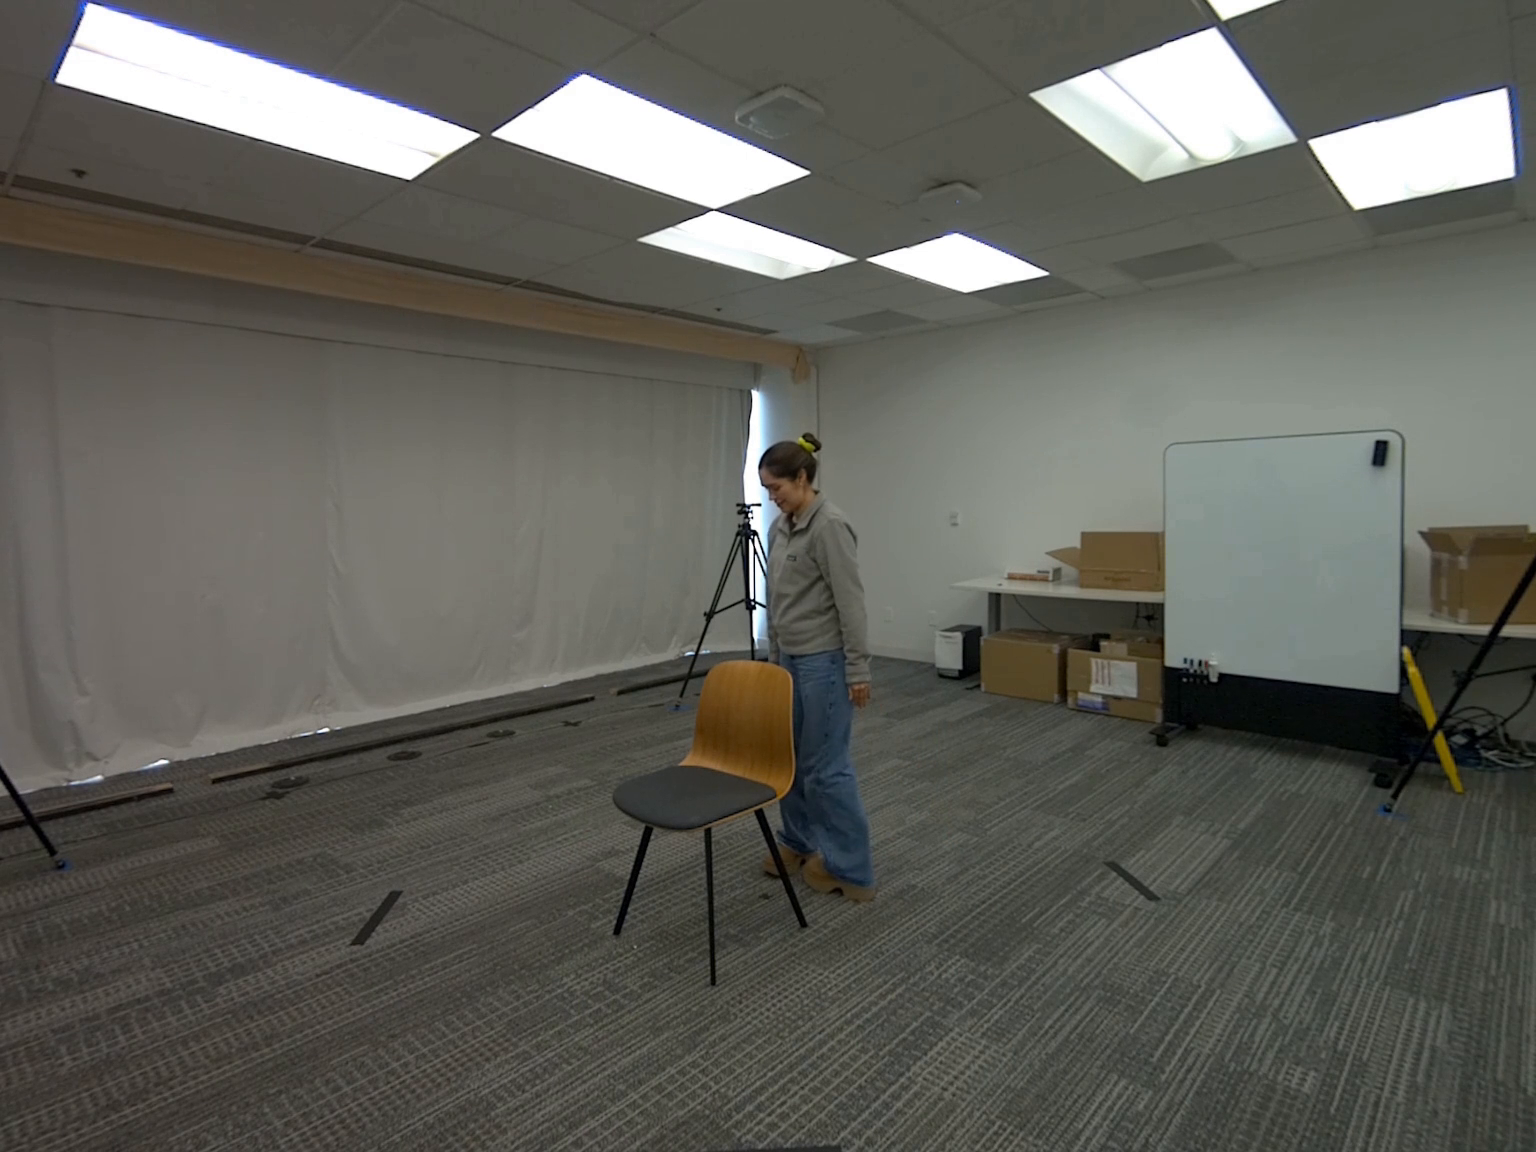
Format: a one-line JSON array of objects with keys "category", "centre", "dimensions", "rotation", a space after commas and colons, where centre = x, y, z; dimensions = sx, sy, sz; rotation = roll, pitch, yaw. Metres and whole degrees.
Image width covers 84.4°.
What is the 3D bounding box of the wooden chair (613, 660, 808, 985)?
[{"category": "wooden chair", "centre": [-0.195, 0.735, 2.713], "dimensions": [0.494, 0.877, 0.506], "rotation": [2, 0, 41]}]
